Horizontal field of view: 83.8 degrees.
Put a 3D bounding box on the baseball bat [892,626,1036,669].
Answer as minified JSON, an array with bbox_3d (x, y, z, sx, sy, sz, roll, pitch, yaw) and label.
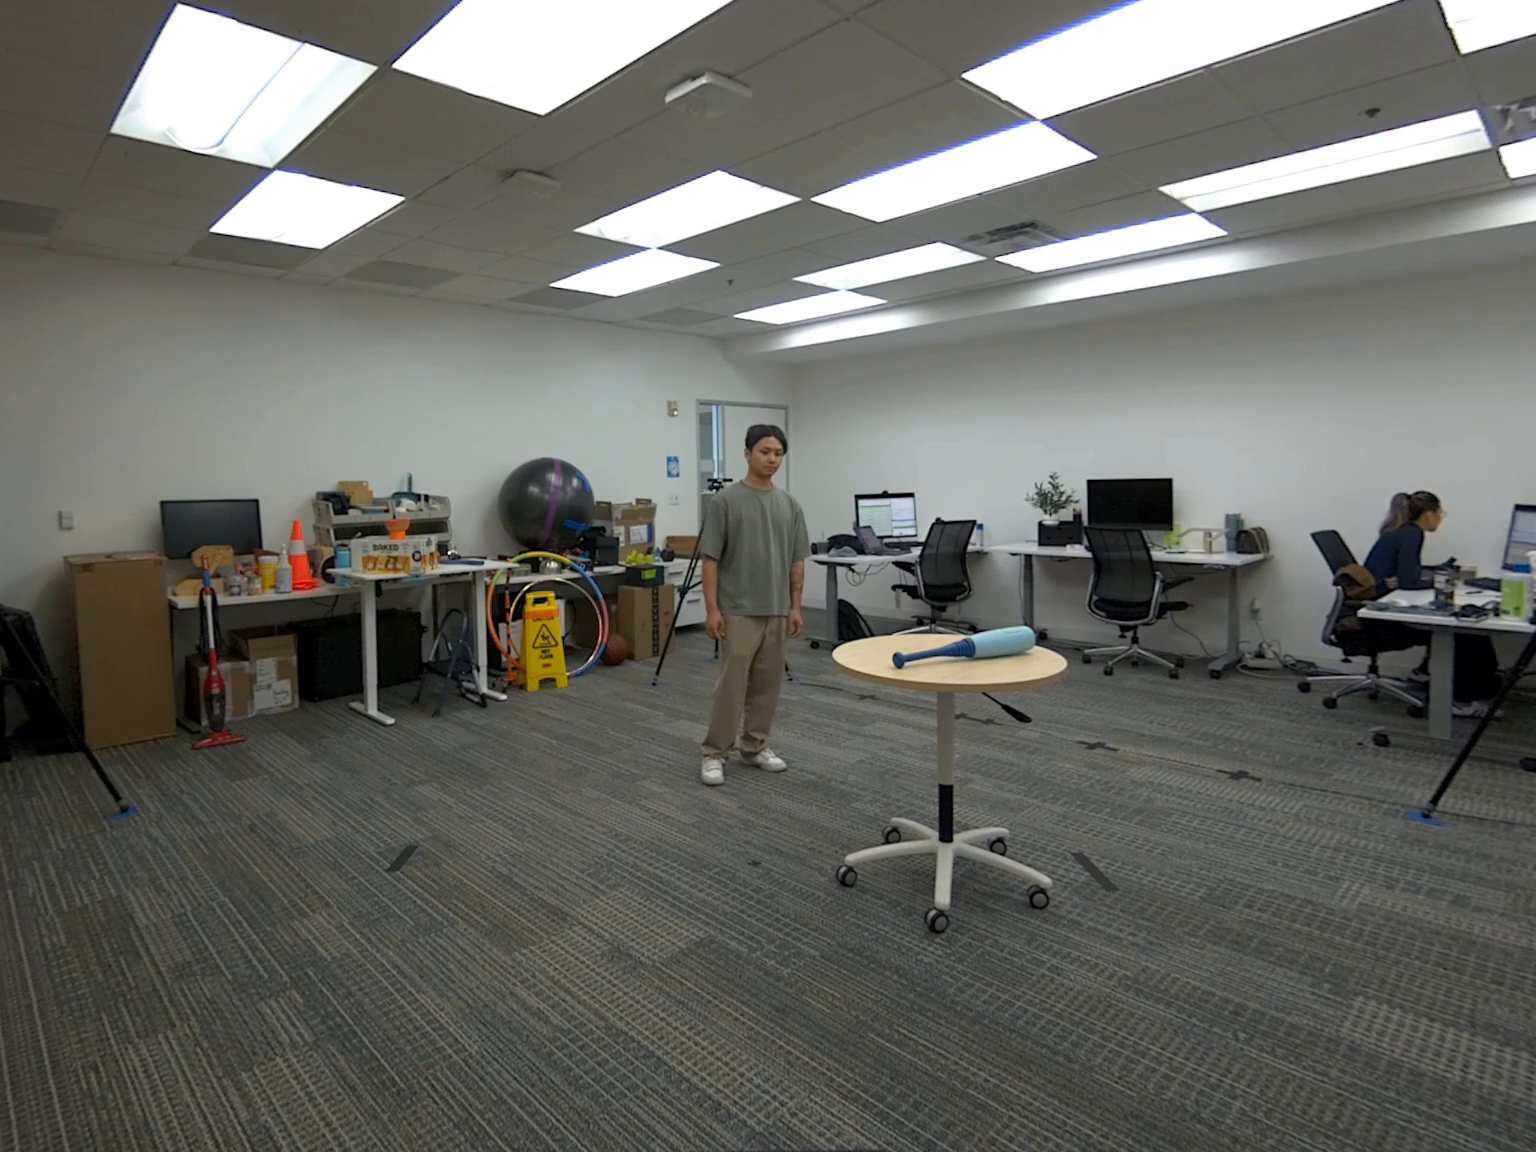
[{"bbox_3d":[0.655,0.244,2.832,0.533,0.088,0.091,-8,7,-24],"label":"baseball bat"}]
